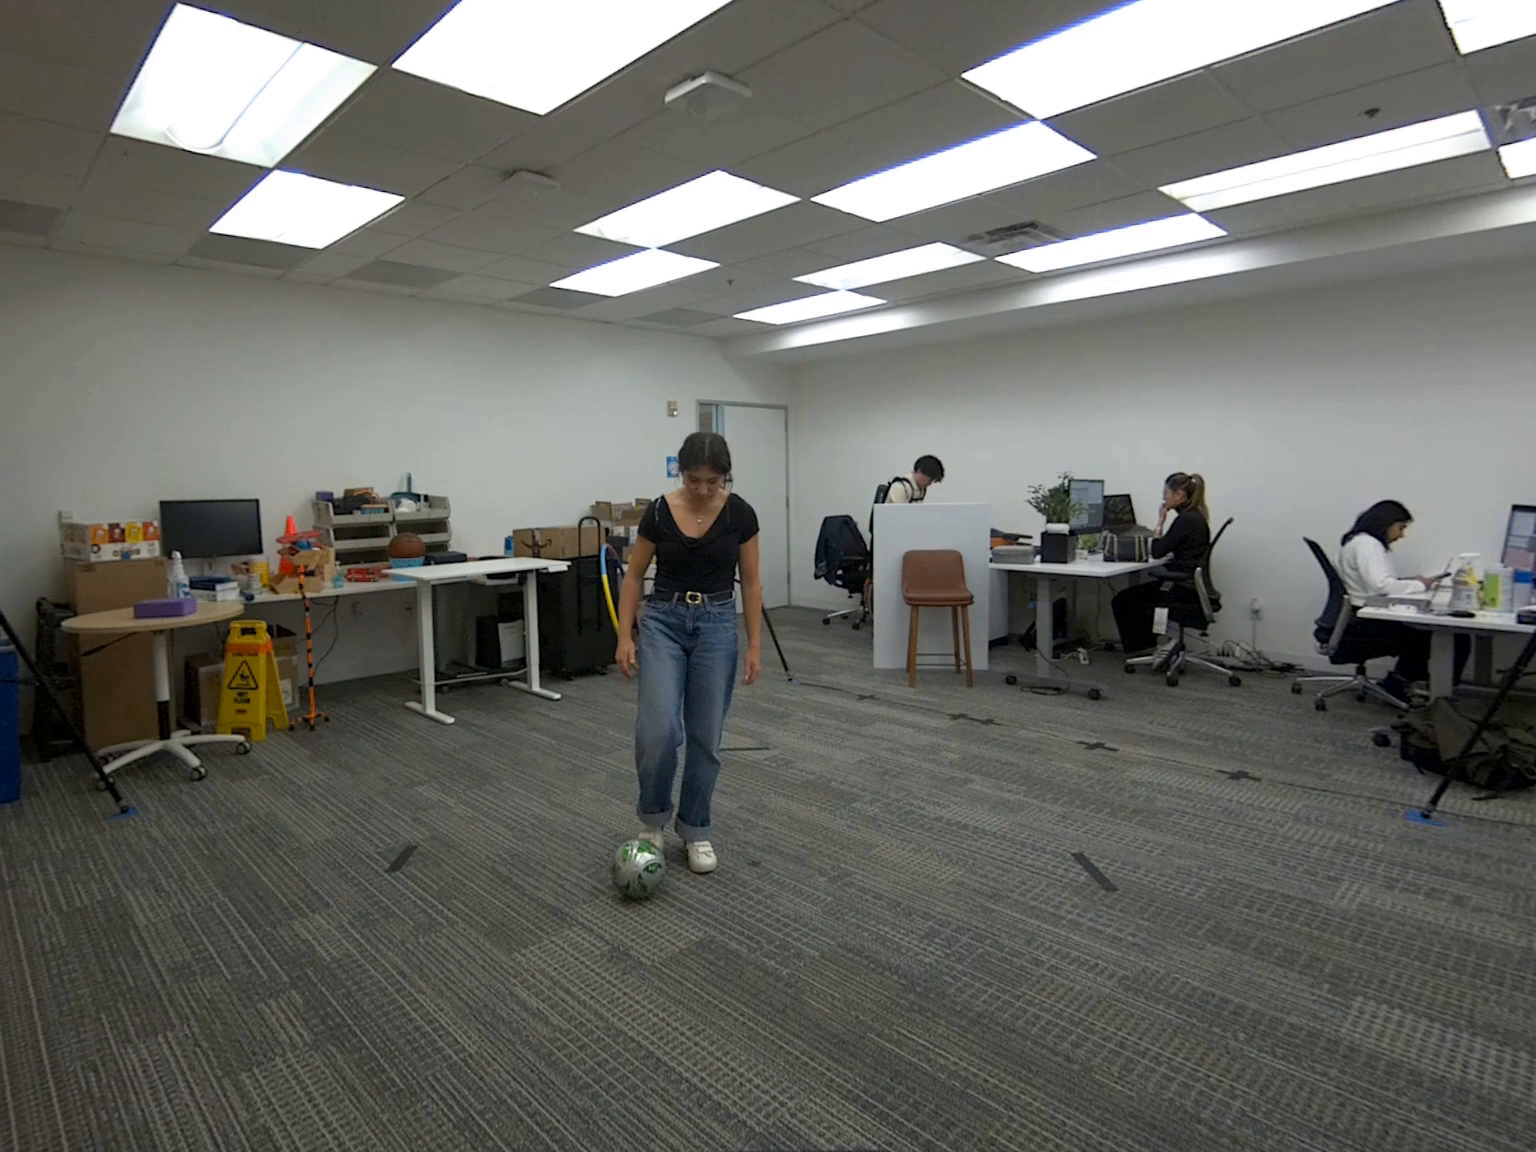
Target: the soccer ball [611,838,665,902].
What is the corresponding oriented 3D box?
[{"bbox_3d":[-0.440,0.991,2.884,0.187,0.187,0.188,-1,5,-2],"label":"soccer ball"}]
